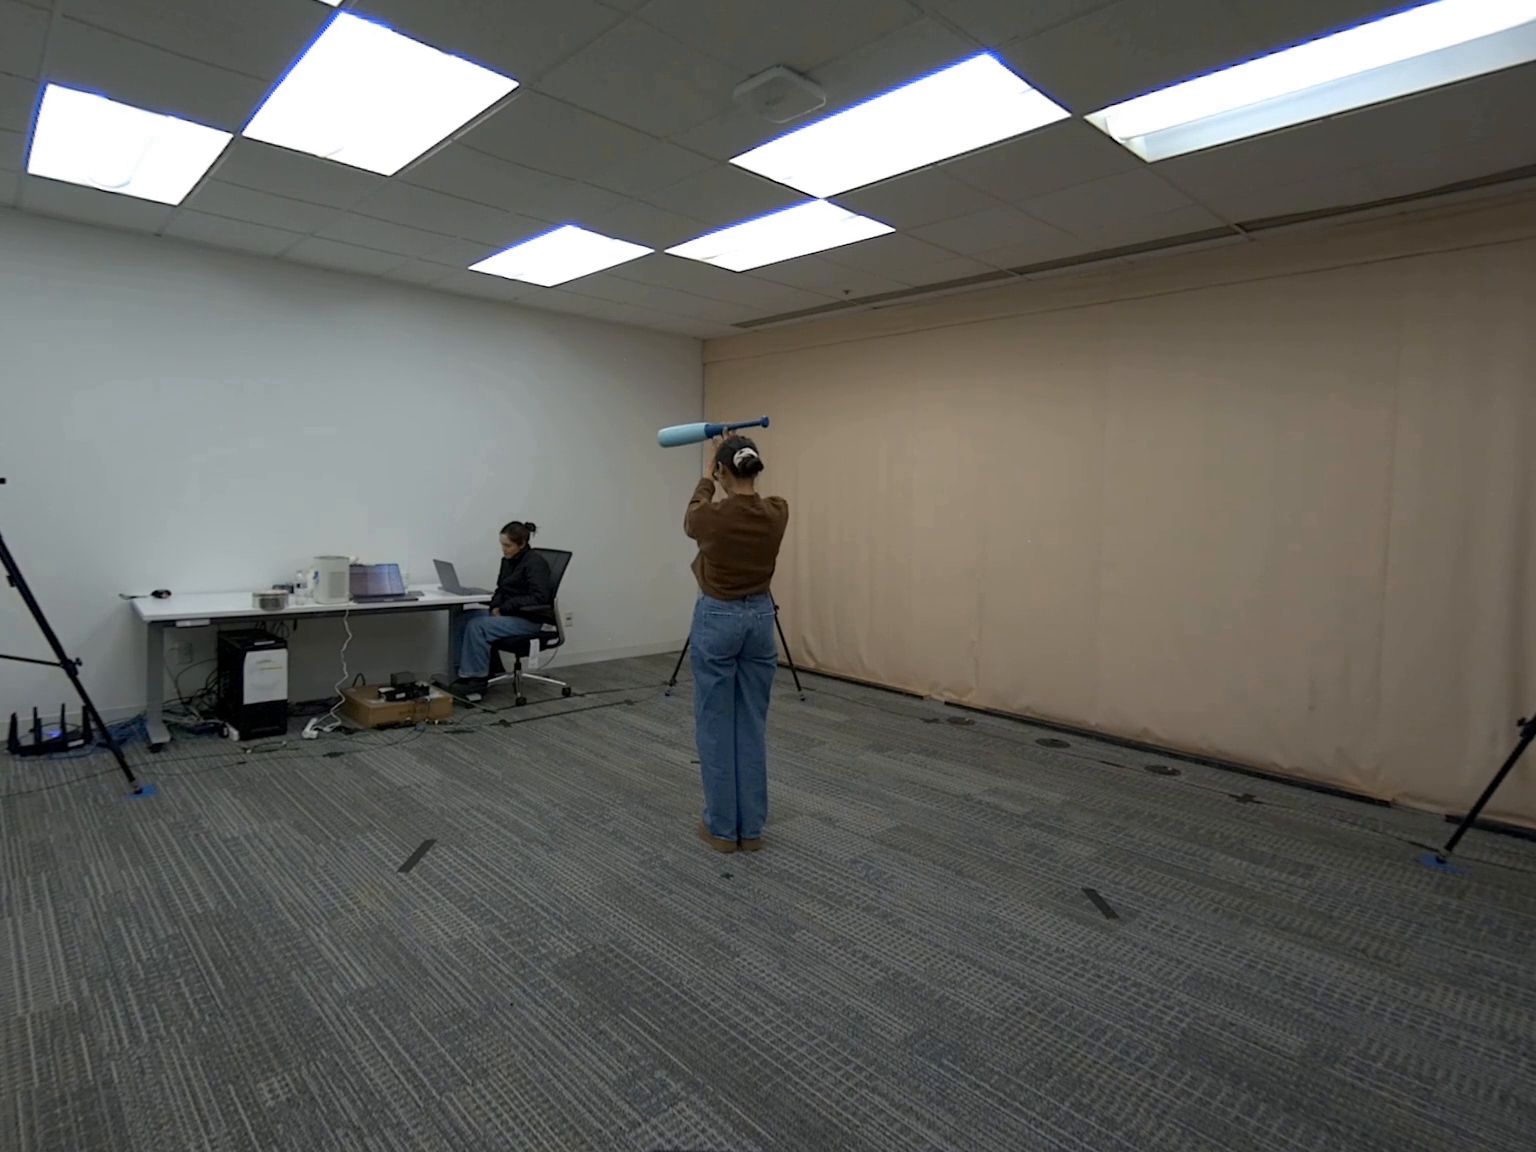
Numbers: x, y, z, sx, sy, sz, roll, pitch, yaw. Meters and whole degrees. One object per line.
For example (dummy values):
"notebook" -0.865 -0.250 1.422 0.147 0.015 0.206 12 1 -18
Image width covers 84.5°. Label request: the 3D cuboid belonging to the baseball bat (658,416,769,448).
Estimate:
"baseball bat" -0.245 -0.634 3.640 0.553 0.089 0.087 -4 1 30
